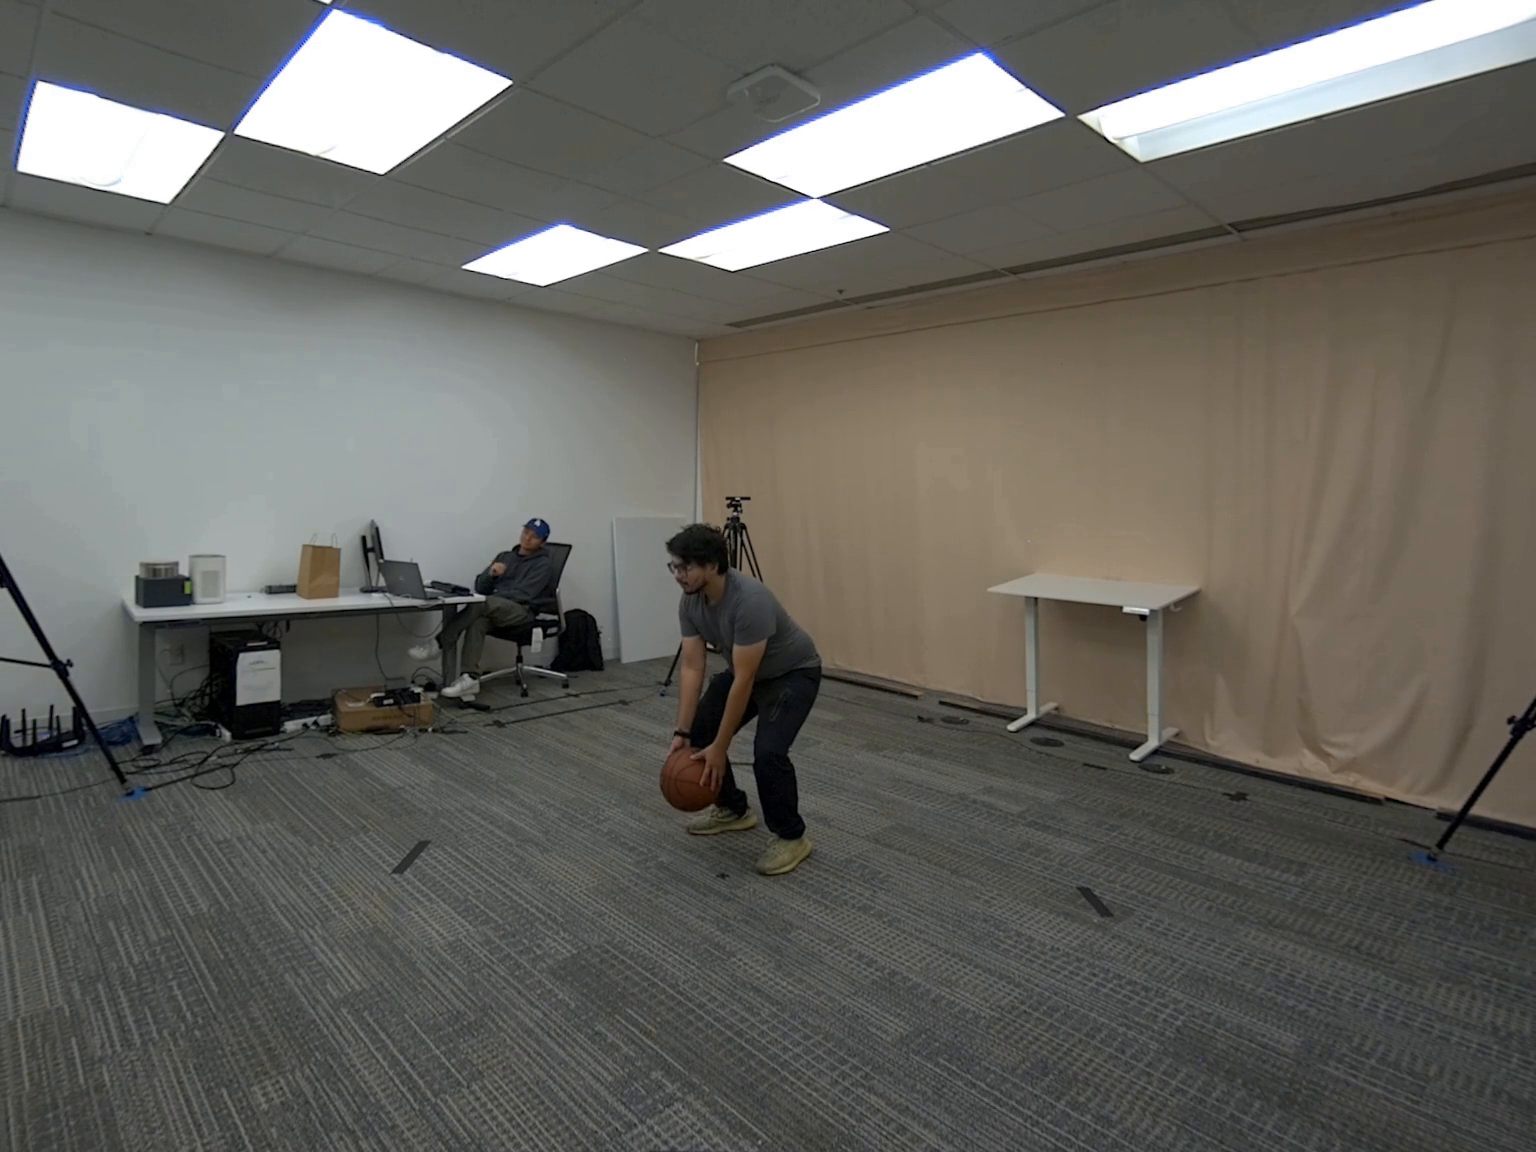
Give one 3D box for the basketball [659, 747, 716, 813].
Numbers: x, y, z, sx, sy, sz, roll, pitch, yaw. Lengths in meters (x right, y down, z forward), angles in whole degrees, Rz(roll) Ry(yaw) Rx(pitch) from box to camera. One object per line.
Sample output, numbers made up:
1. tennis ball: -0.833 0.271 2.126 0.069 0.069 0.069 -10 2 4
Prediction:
1. basketball: -0.307 0.769 3.215 0.236 0.235 0.237 1 4 -1
